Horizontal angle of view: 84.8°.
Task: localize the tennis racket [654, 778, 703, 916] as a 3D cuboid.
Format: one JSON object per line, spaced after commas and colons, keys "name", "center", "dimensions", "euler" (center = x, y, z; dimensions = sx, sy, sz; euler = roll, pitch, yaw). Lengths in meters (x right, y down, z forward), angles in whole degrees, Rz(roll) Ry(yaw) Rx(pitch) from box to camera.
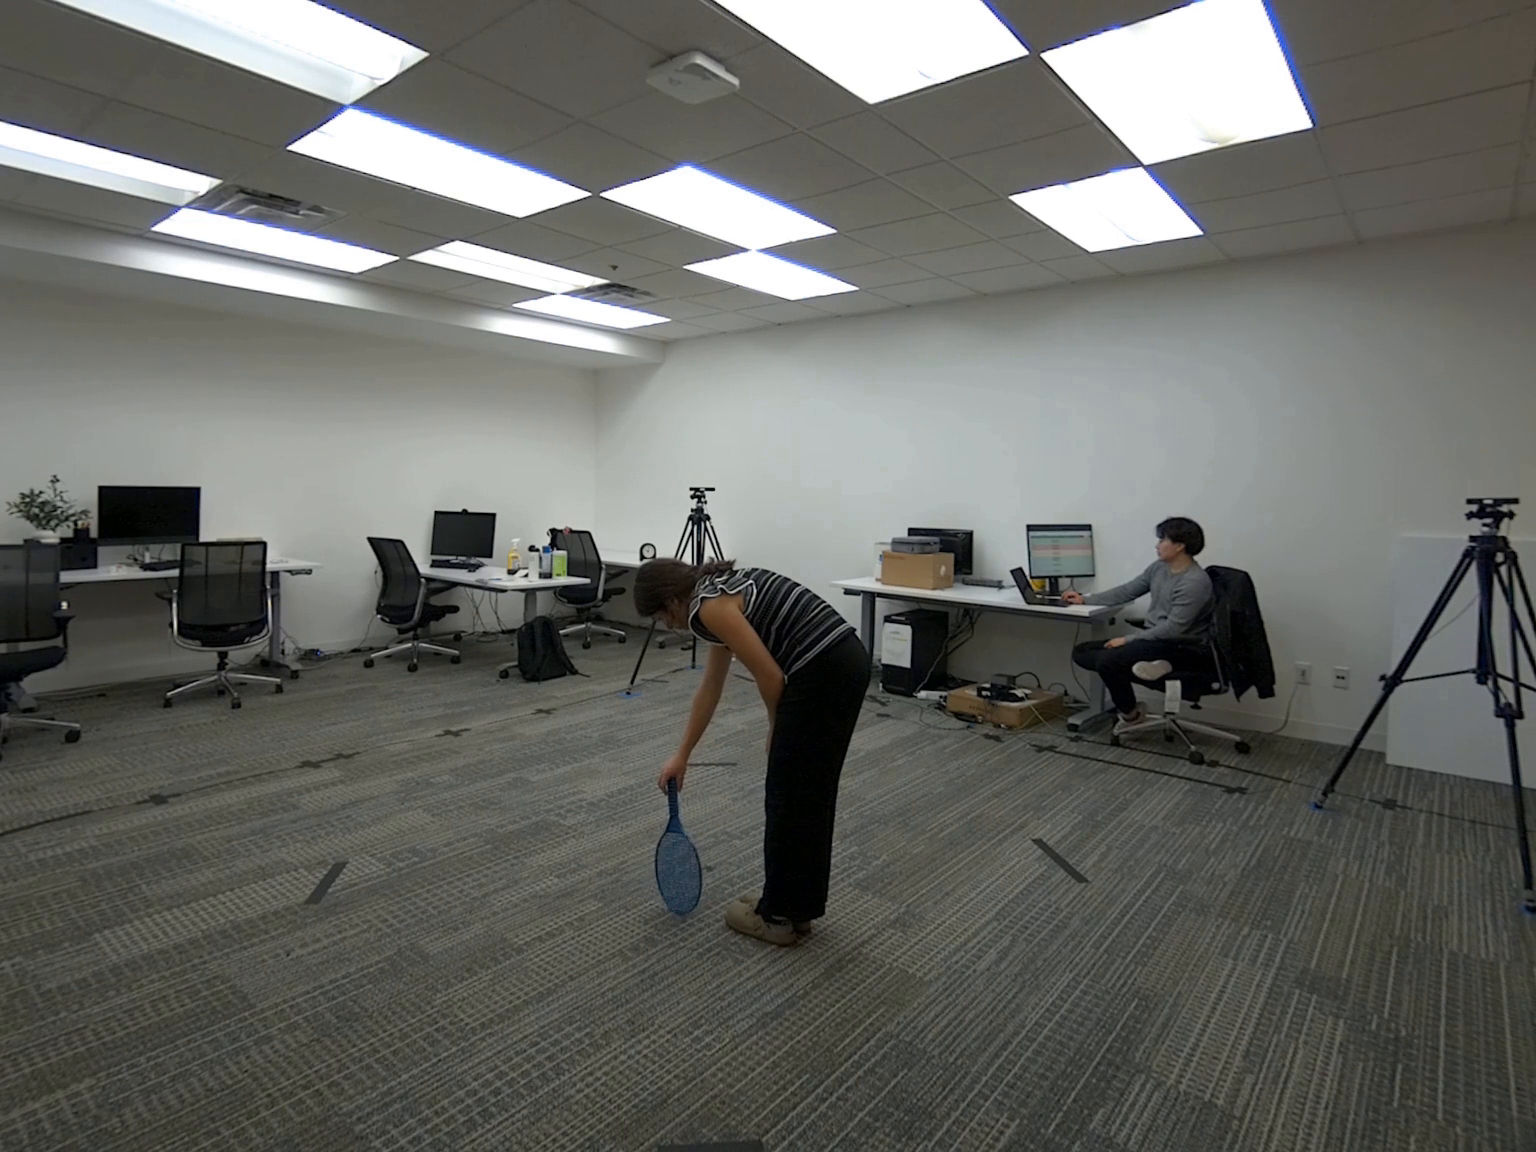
{"name": "tennis racket", "center": [-0.305, 0.881, 2.800], "dimensions": [0.219, 0.437, 0.031], "euler": [-13, -13, 40]}
